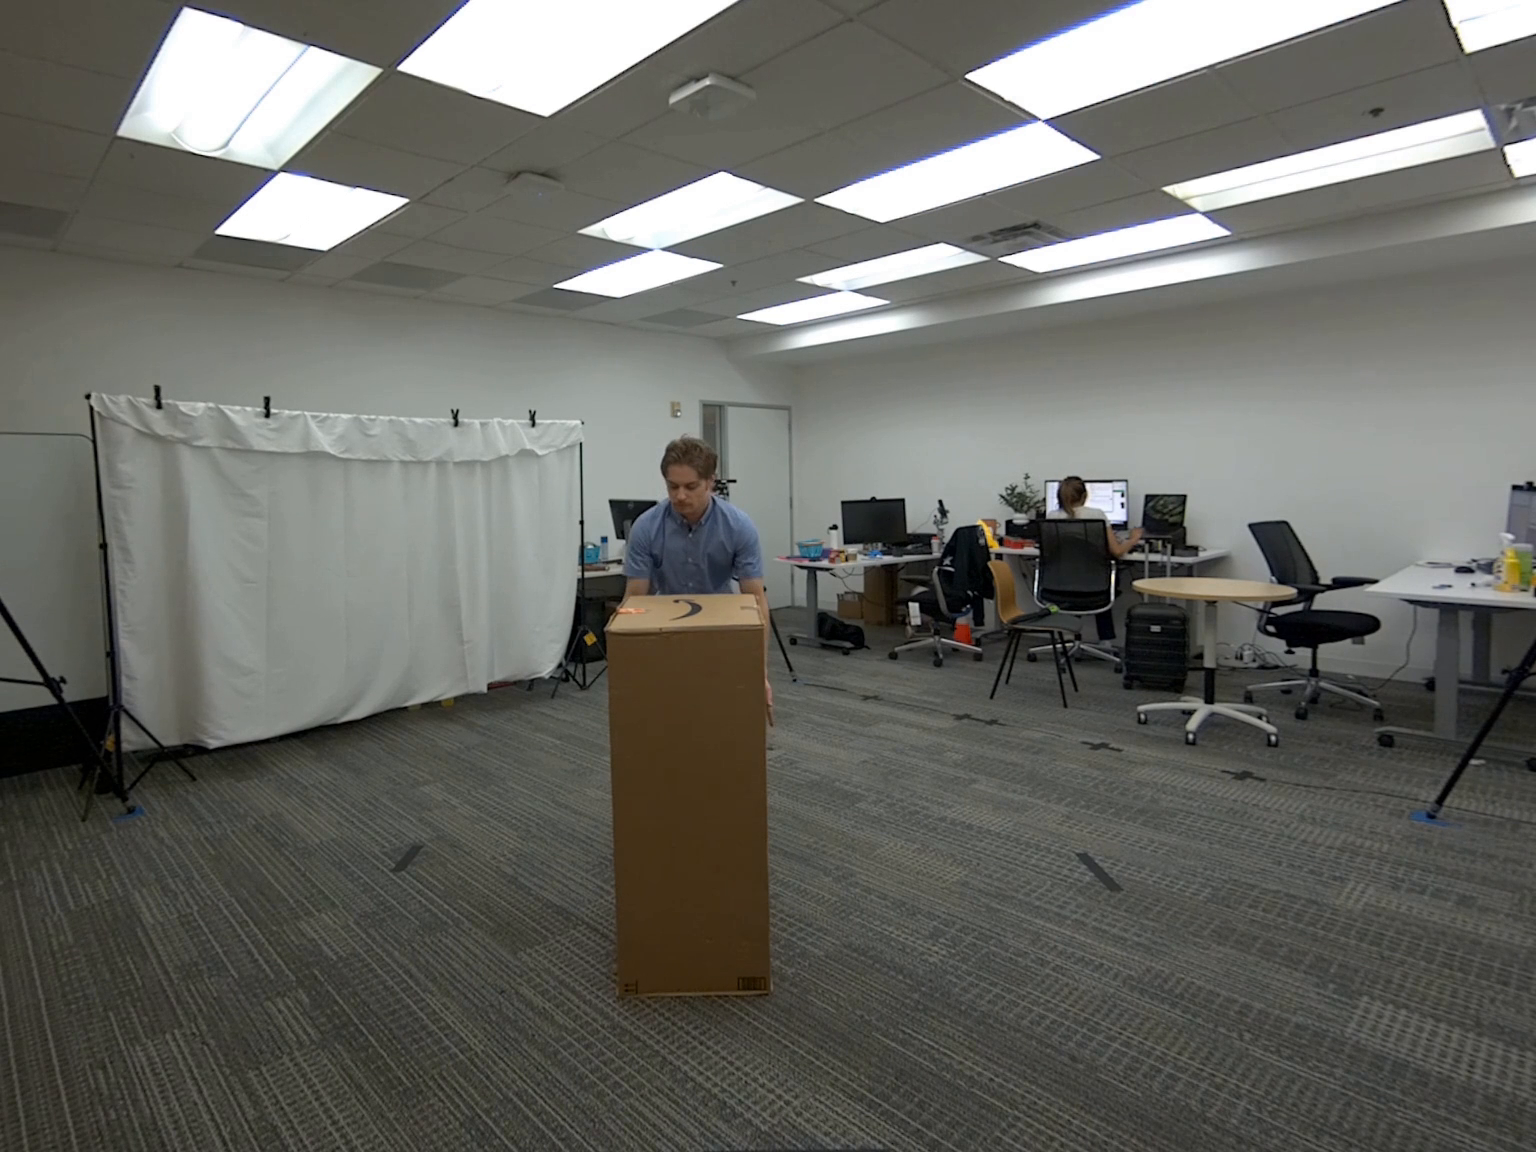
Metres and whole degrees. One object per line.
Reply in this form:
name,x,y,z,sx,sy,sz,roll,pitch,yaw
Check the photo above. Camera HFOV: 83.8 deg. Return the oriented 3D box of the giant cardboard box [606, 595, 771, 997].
giant cardboard box,-0.229,0.604,2.564,0.426,1.022,0.581,-2,5,-2
